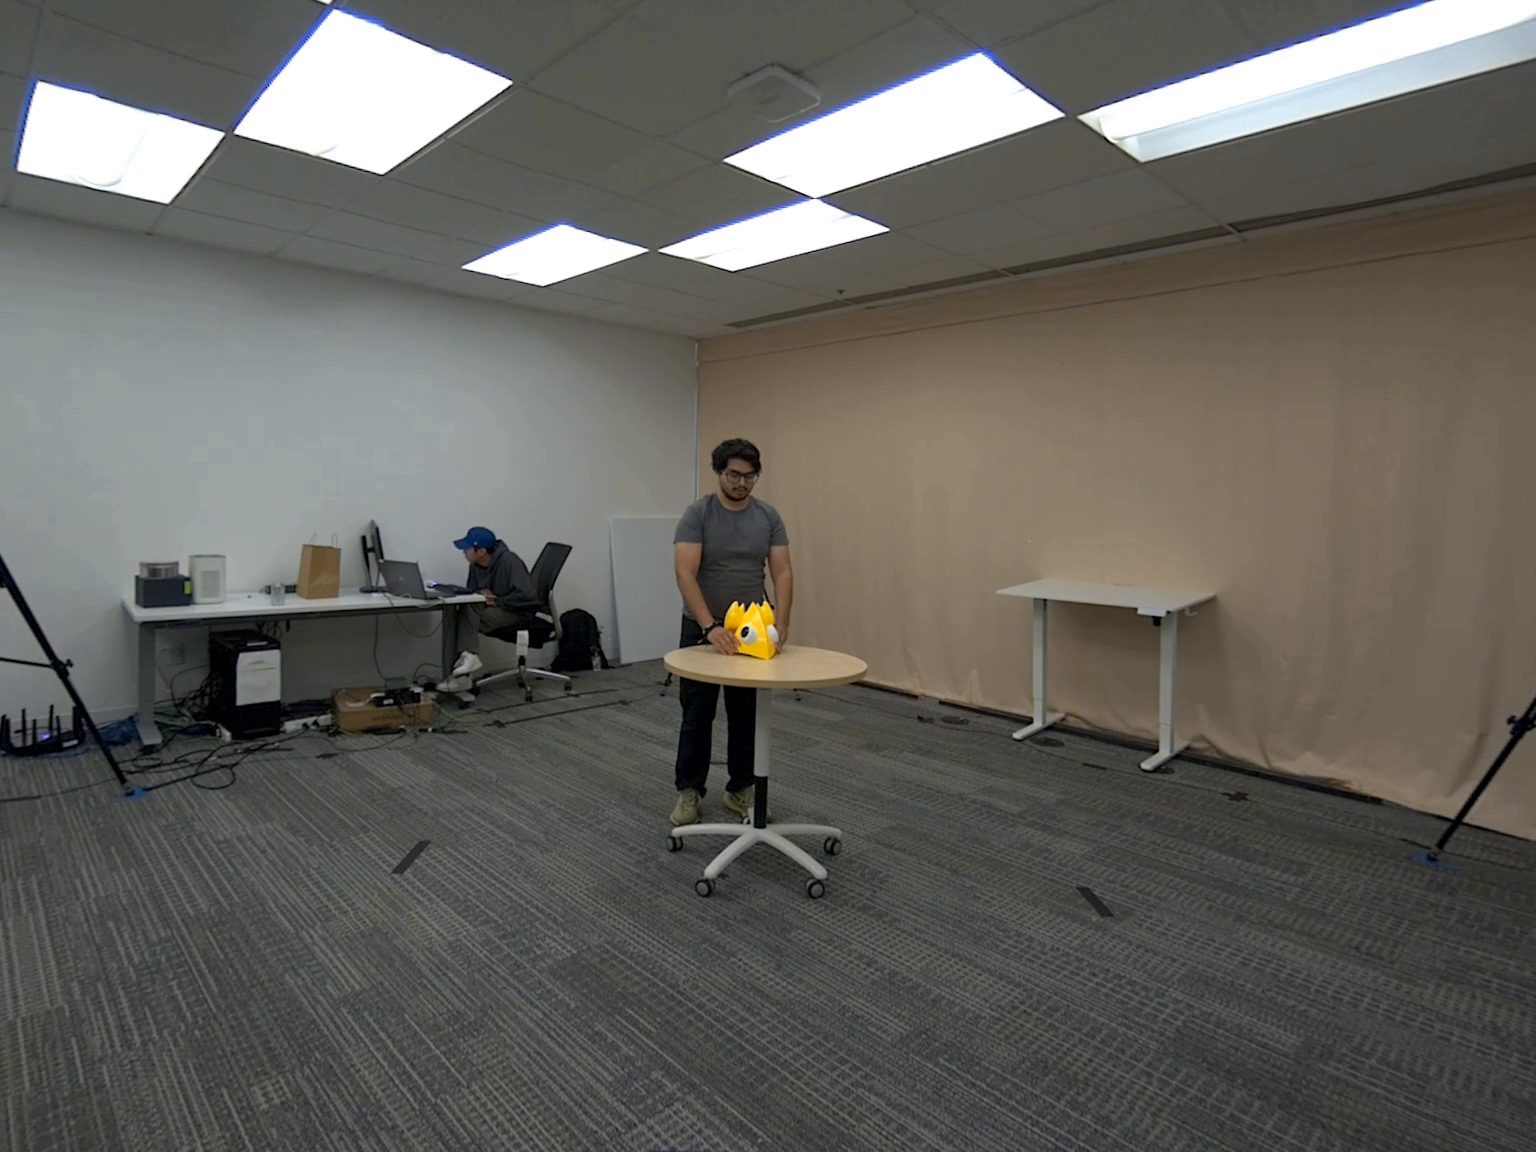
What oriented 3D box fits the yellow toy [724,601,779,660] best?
[{"bbox_3d":[-0.045,0.226,3.281,0.201,0.191,0.237,1,17,-22],"label":"yellow toy"}]
